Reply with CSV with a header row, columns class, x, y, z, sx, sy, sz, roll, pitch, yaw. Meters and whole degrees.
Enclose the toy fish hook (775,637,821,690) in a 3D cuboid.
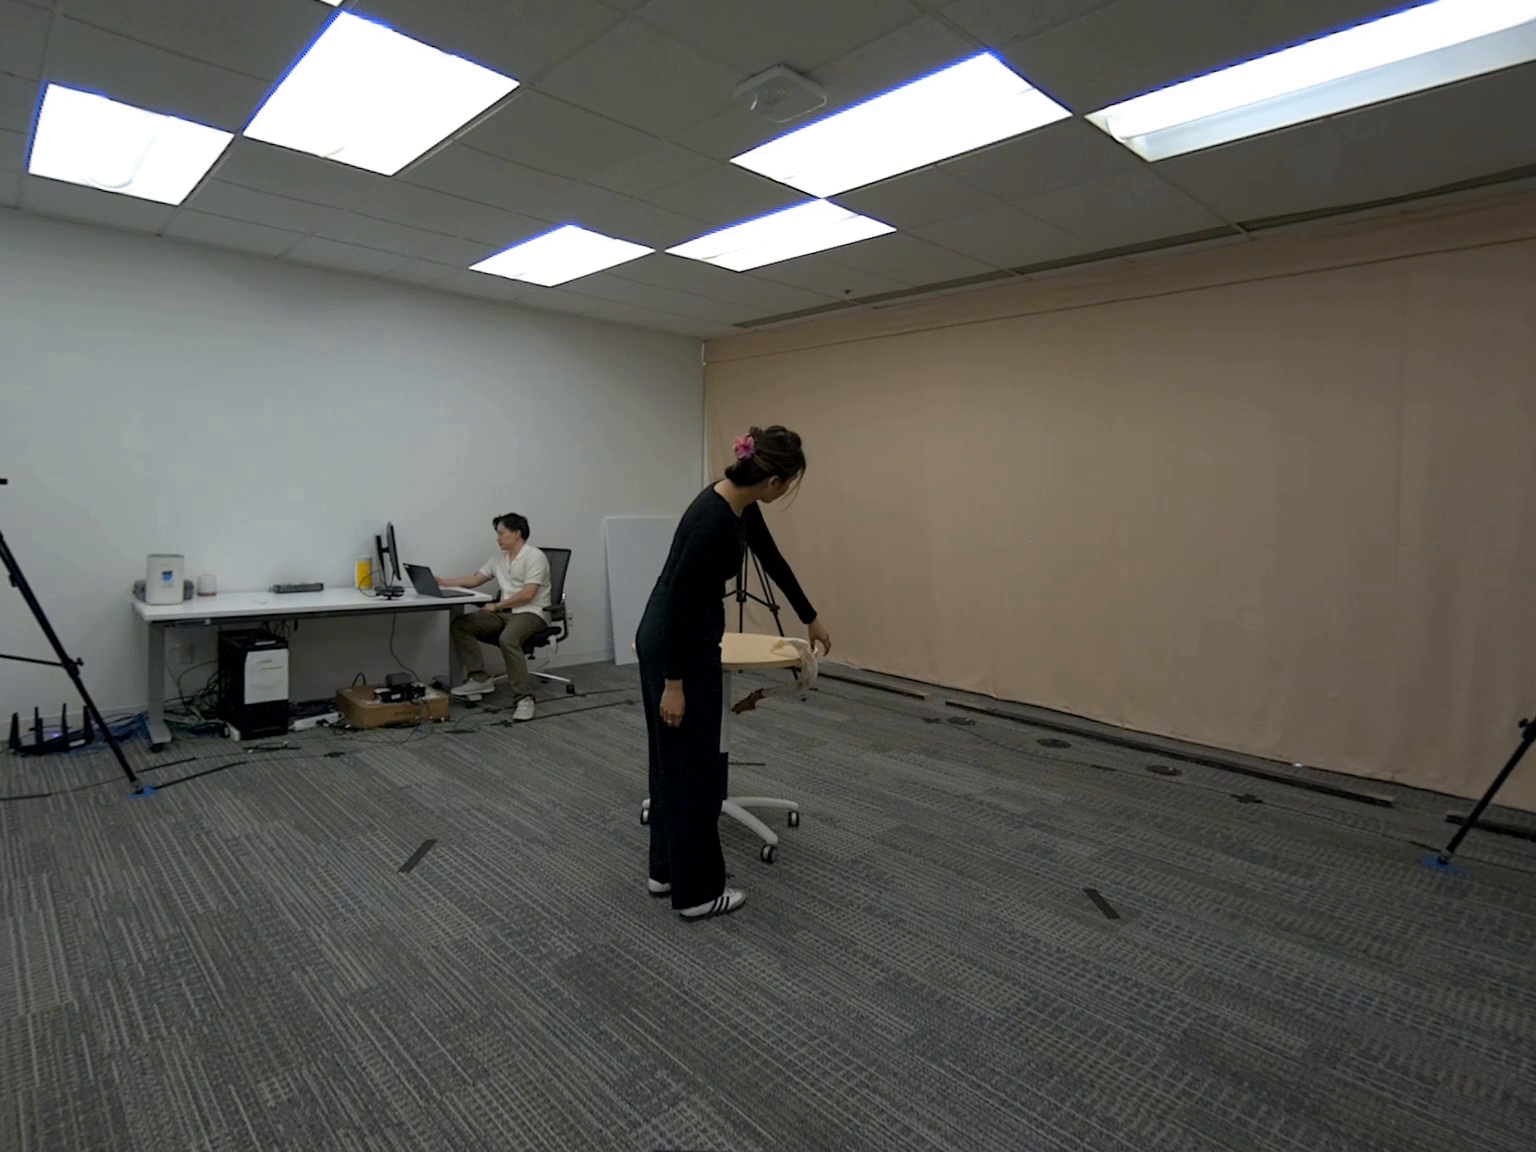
class,x,y,z,sx,sy,sz,roll,pitch,yaw
toy fish hook,0.002,0.406,3.354,0.510,0.228,0.047,-32,-21,37
